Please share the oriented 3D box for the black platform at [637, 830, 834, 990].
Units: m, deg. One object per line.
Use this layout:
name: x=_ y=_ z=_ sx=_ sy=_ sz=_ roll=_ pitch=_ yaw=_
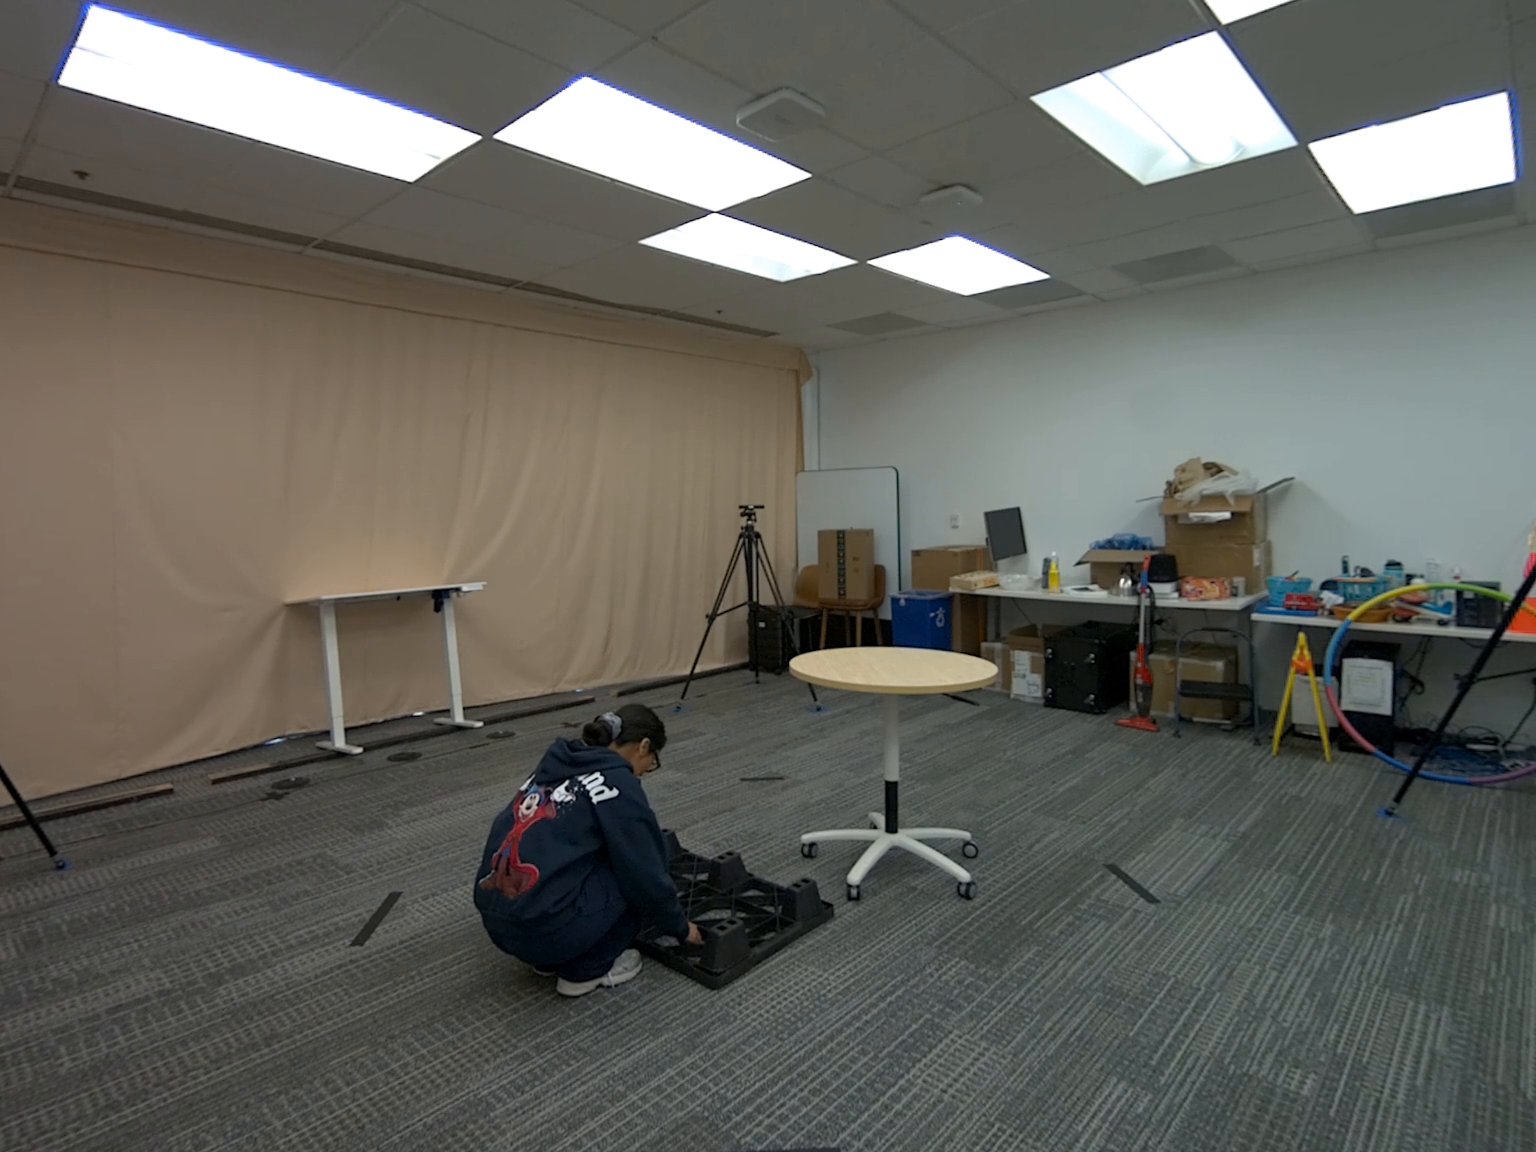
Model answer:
black platform: x=-0.259 y=1.089 z=2.894 sx=0.832 sy=0.143 sz=0.587 roll=3 pitch=7 yaw=41
